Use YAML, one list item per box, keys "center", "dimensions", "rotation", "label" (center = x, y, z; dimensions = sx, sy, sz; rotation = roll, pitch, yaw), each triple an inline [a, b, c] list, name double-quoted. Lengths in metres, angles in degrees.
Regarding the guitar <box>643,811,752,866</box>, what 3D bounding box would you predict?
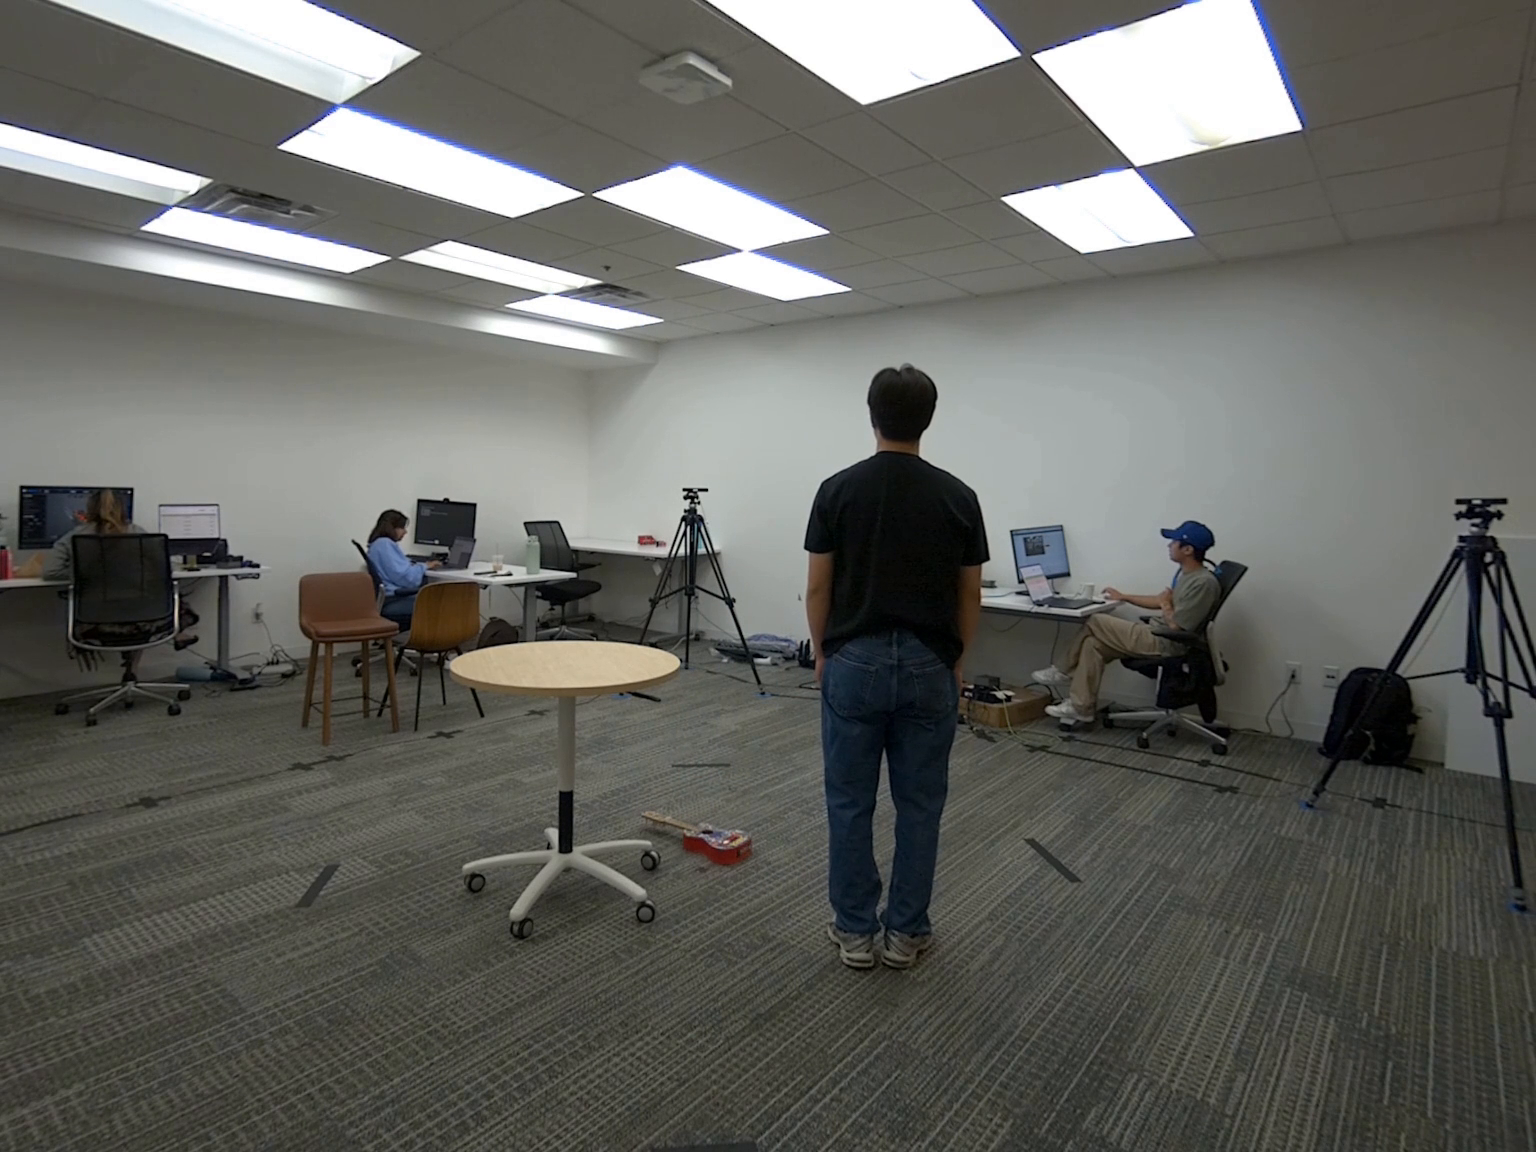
- center: [-0.294, 1.010, 3.366]
  dimensions: [0.515, 0.070, 0.187]
  rotation: [7, 8, 42]
  label: "guitar"
